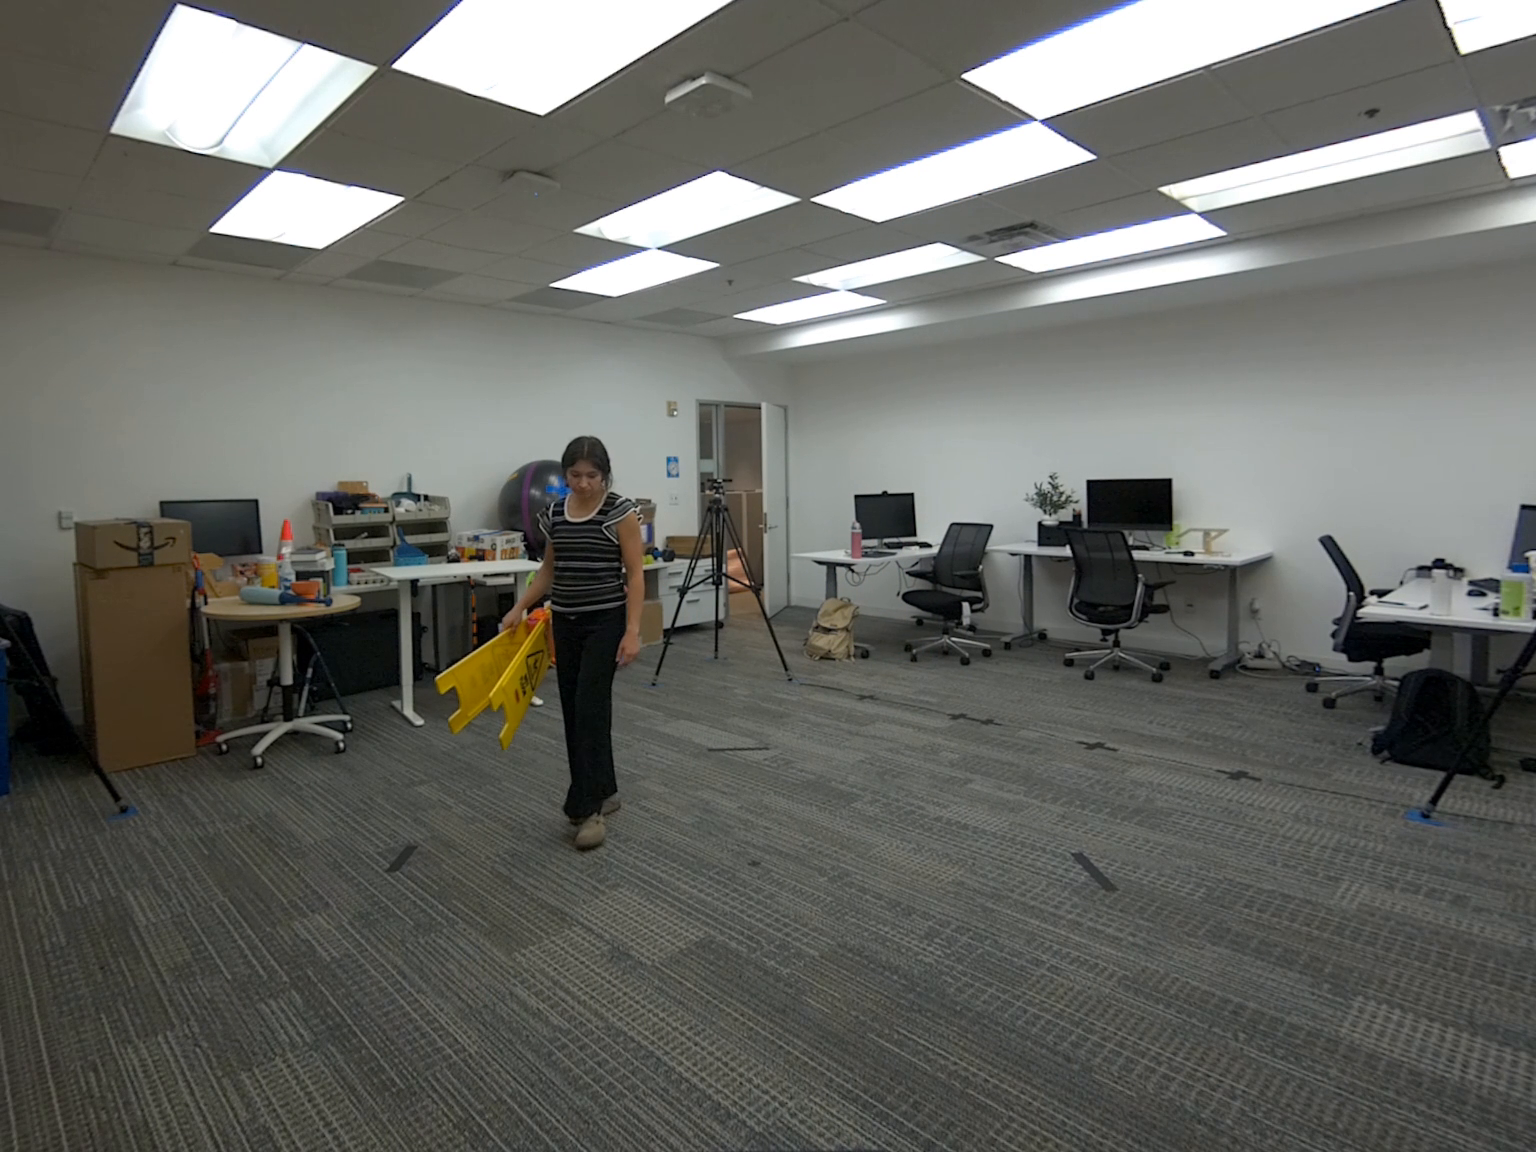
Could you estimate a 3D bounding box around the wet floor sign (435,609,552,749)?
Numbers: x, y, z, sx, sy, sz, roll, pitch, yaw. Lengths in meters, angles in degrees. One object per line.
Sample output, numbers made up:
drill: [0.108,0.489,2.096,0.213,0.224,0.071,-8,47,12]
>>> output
wet floor sign: [-1.022,0.359,3.488,0.295,0.275,0.650,10,36,17]
